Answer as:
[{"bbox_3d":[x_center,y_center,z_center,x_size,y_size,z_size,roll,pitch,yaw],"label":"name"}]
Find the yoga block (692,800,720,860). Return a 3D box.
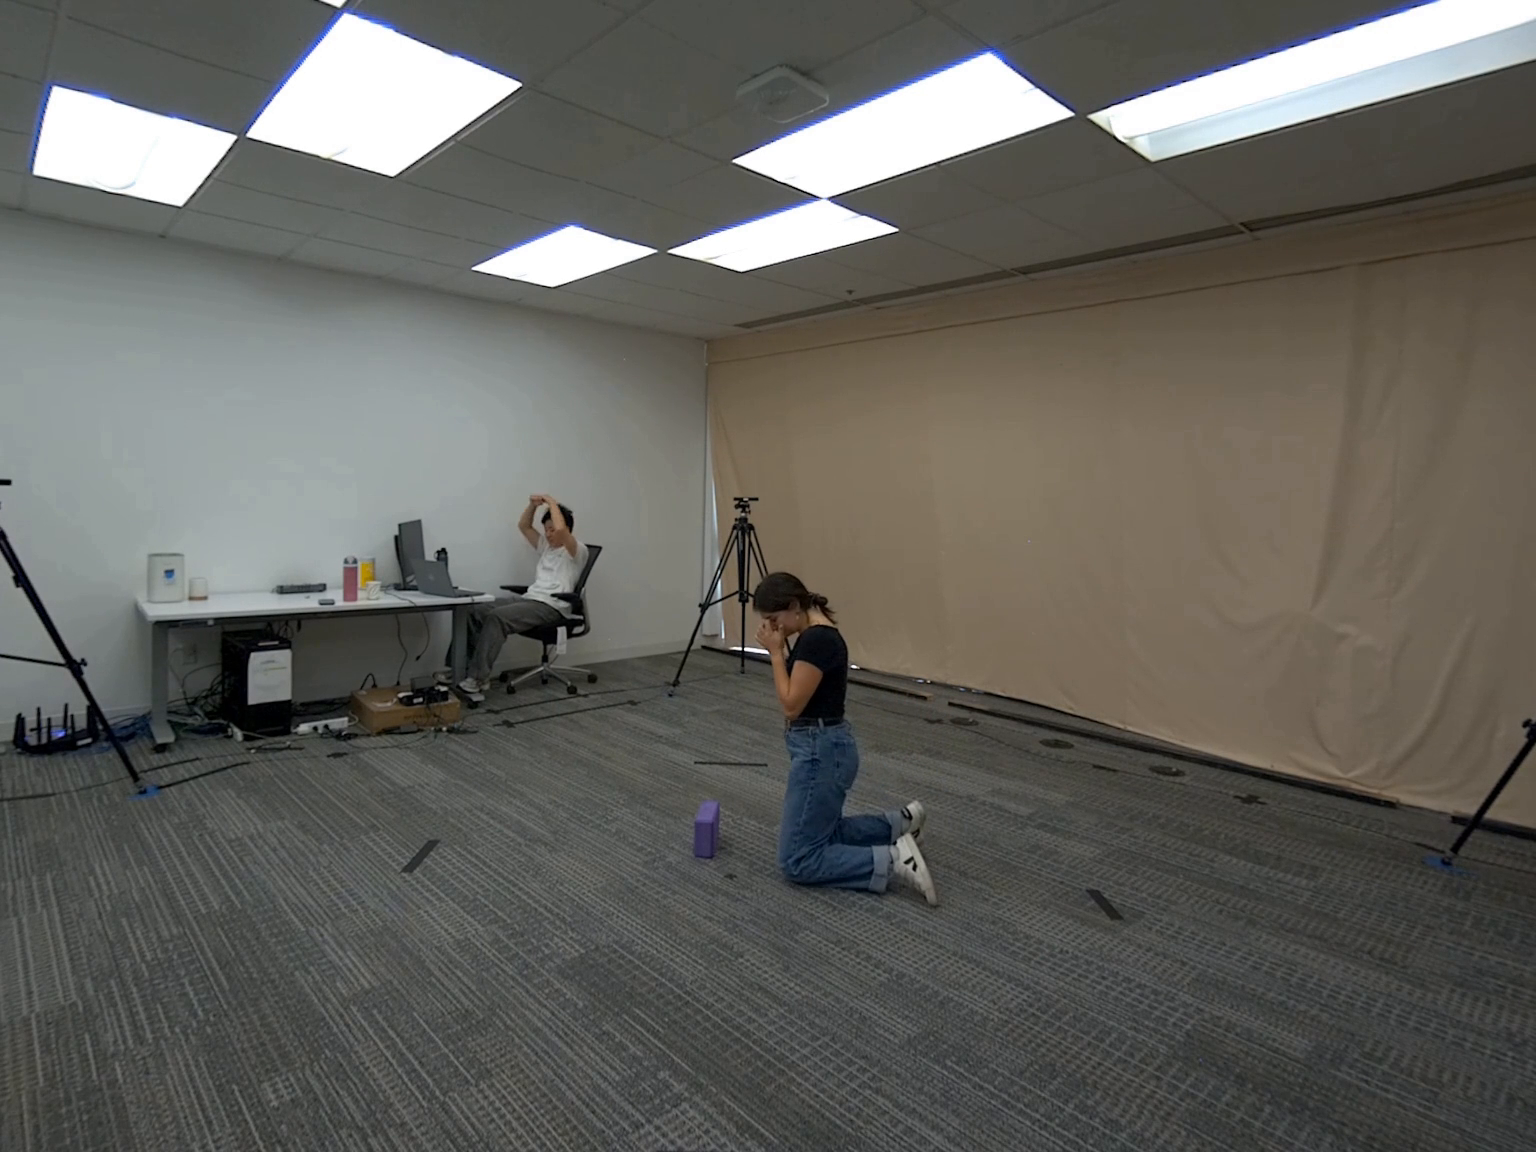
[{"bbox_3d":[-0.244,1.005,3.365,0.077,0.148,0.229,0,5,3],"label":"yoga block"}]
